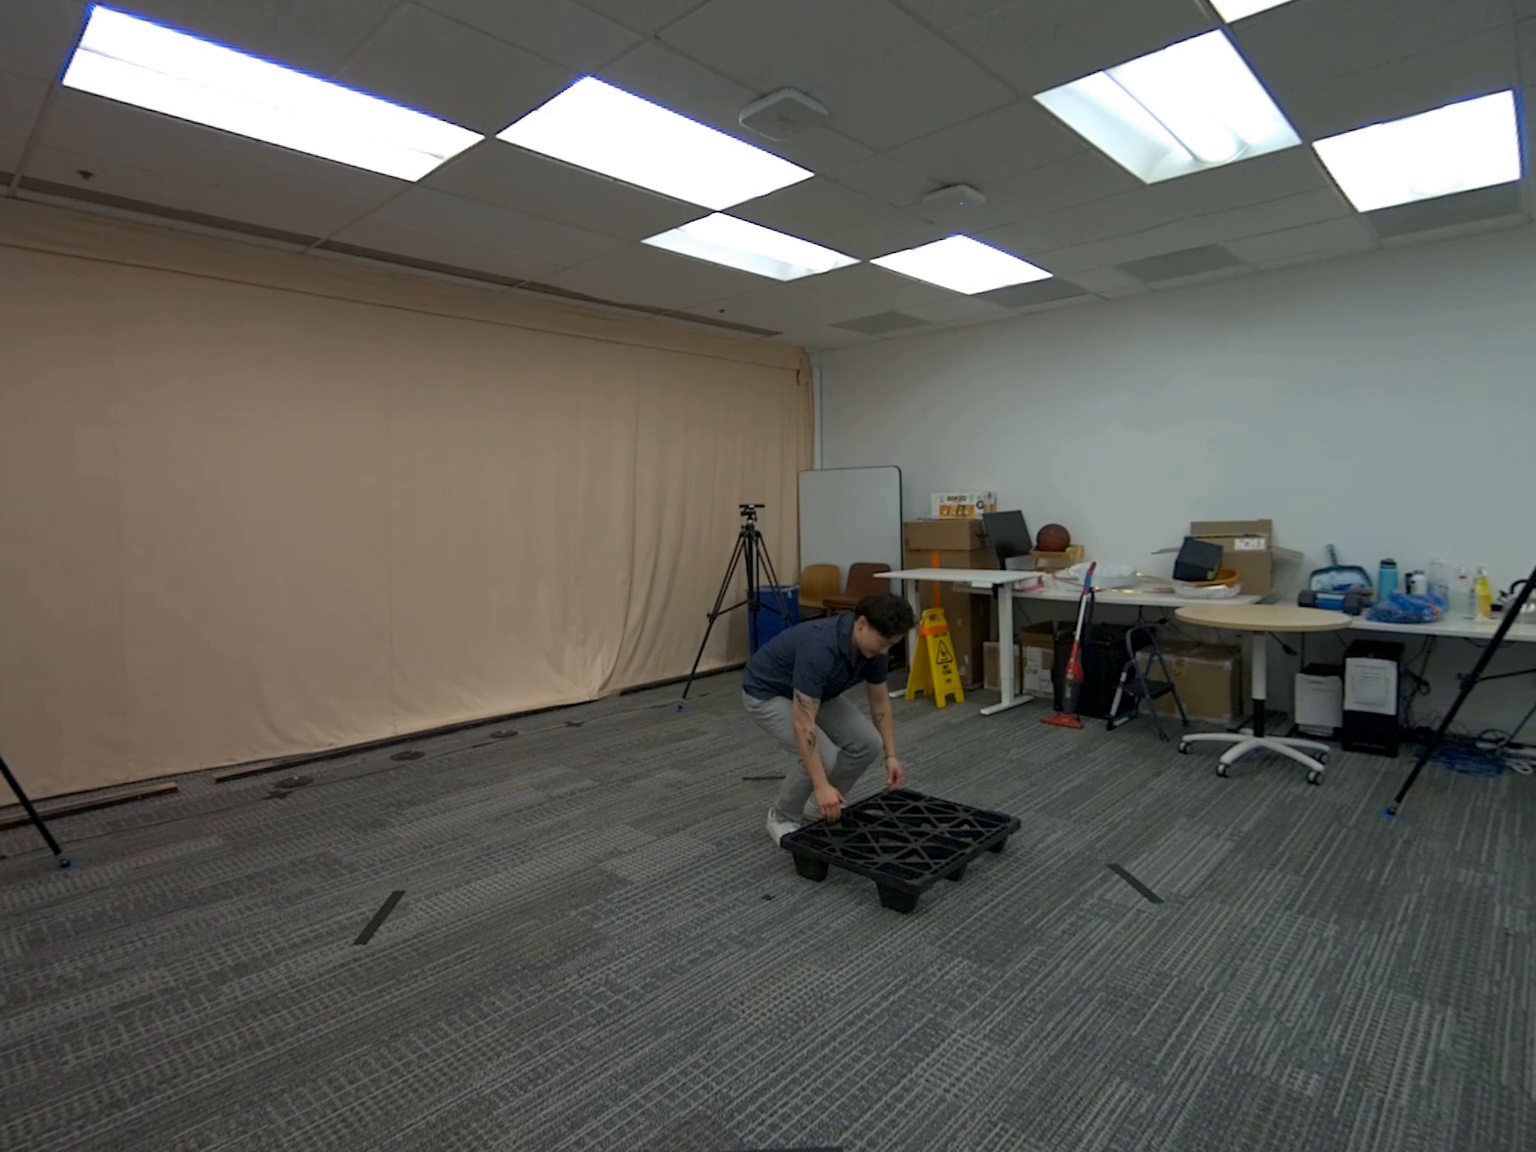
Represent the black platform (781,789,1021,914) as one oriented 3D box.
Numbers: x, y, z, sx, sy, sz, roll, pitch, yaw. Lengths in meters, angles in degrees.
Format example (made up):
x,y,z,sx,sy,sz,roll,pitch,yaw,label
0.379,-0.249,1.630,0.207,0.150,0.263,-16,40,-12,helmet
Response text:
x,y,z,sx,sy,sz,roll,pitch,yaw,label
0.534,1.041,3.249,0.625,0.143,0.781,4,7,42,black platform
